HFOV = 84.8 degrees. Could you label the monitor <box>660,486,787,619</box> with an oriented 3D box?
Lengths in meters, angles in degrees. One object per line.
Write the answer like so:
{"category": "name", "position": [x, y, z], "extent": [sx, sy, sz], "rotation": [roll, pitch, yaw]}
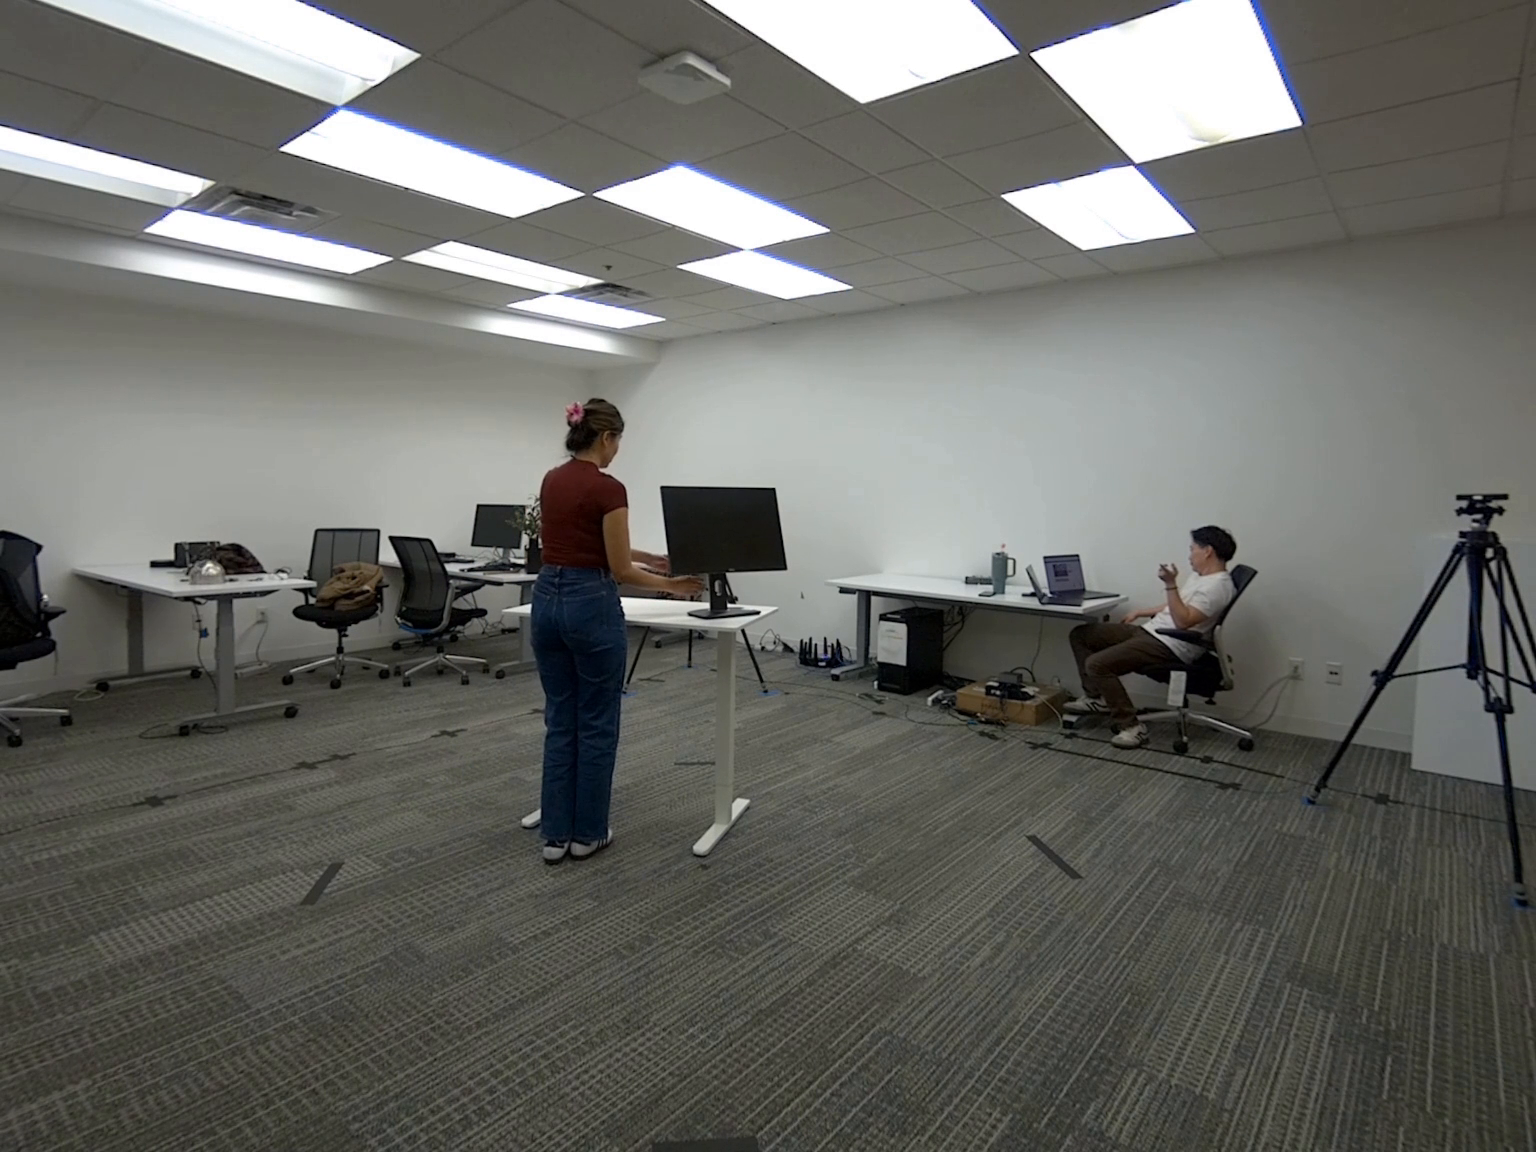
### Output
{"category": "monitor", "position": [-0.197, -0.099, 3.424], "extent": [0.524, 0.523, 0.192], "rotation": [-2, 0, -32]}
